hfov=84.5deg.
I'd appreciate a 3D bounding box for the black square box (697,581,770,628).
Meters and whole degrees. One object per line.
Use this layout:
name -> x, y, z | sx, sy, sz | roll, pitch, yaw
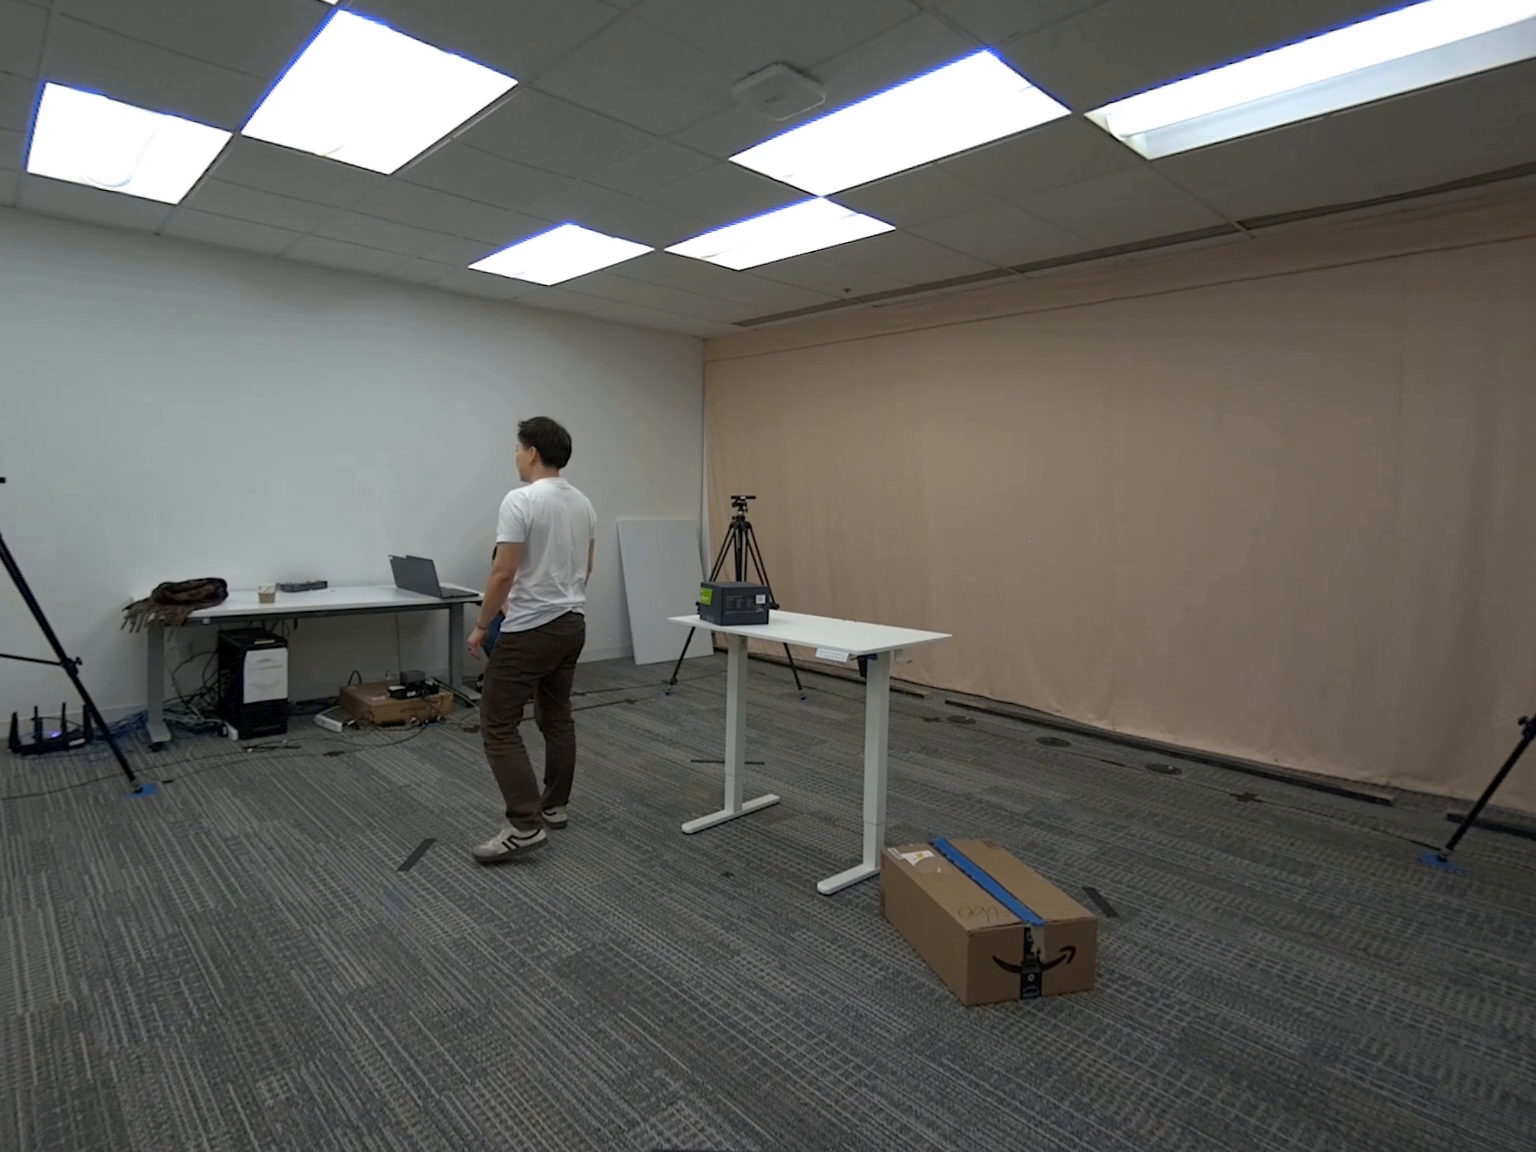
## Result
black square box -> -0.145, 0.110, 3.458 | 0.213, 0.155, 0.232 | -1, 4, -26
